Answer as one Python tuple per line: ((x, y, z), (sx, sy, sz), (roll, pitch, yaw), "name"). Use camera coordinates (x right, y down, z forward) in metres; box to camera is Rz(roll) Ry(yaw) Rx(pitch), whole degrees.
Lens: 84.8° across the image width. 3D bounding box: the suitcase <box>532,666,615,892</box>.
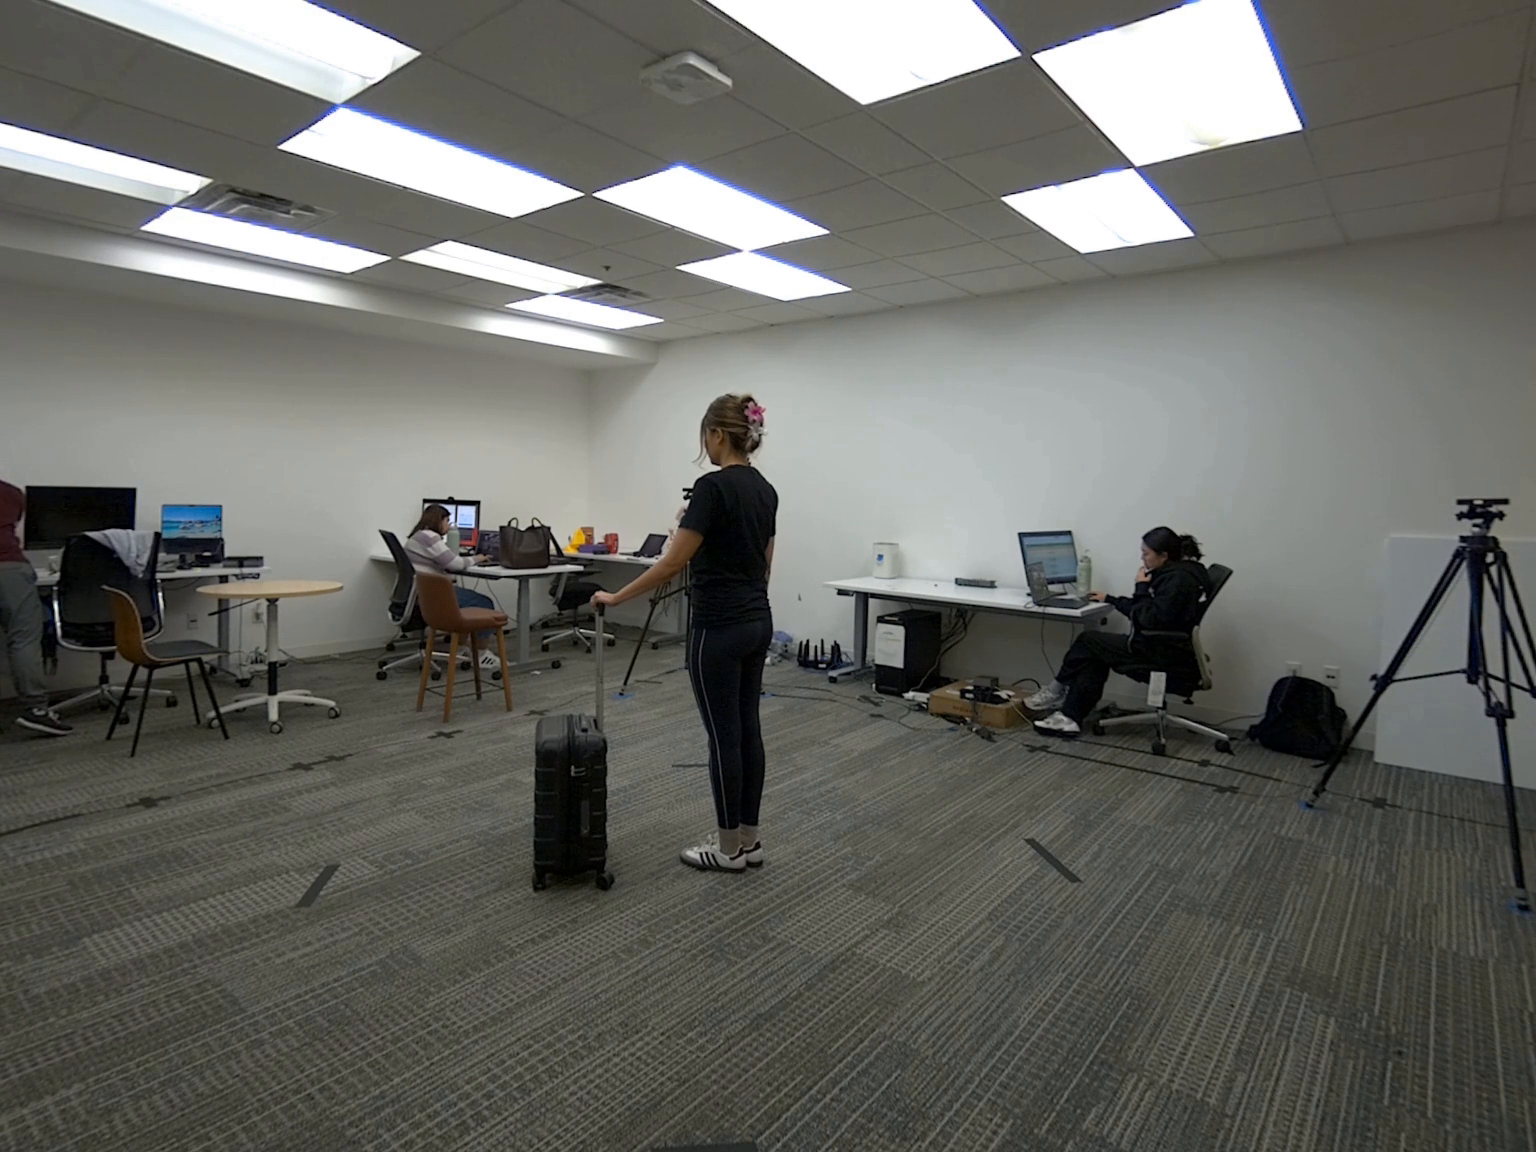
((-0.729, 0.591, 3.060), (0.254, 0.976, 0.389), (-3, 3, -11), "suitcase")
